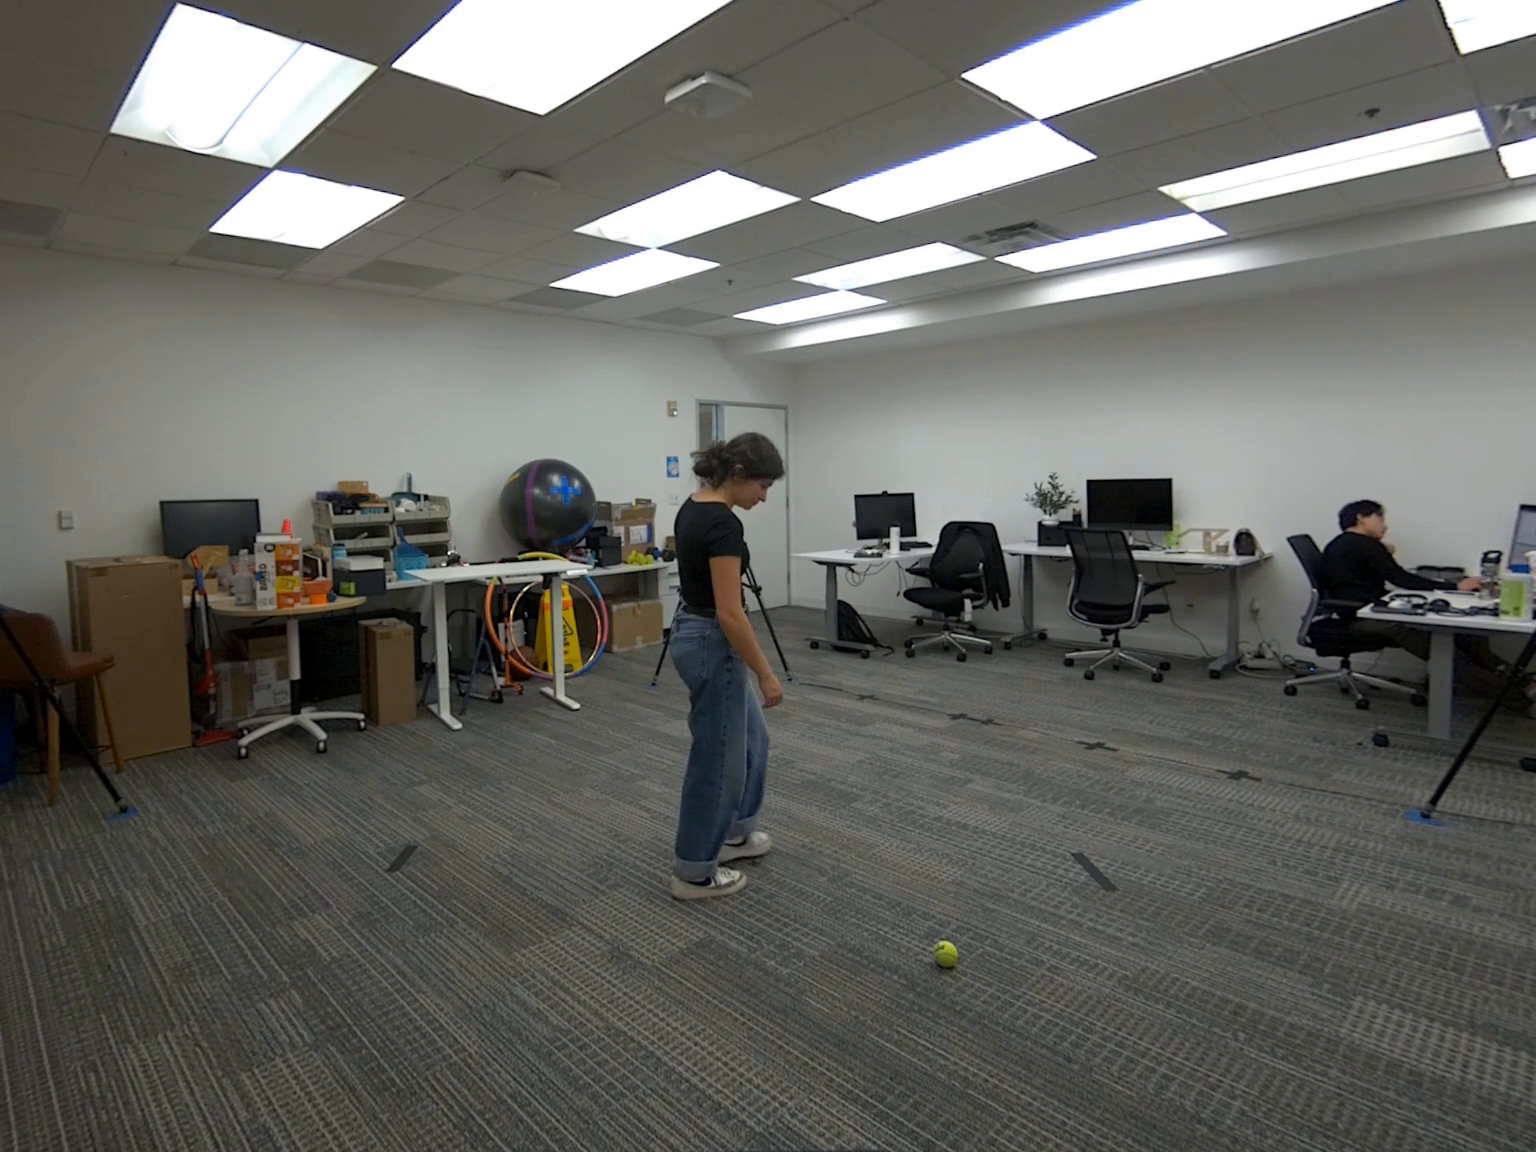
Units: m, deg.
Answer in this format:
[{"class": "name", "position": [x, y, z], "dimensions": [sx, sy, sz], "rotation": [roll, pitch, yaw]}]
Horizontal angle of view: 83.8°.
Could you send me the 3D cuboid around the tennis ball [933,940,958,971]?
[{"class": "tennis ball", "position": [0.513, 1.073, 2.438], "dimensions": [0.066, 0.066, 0.067], "rotation": [-1, 5, -2]}]
